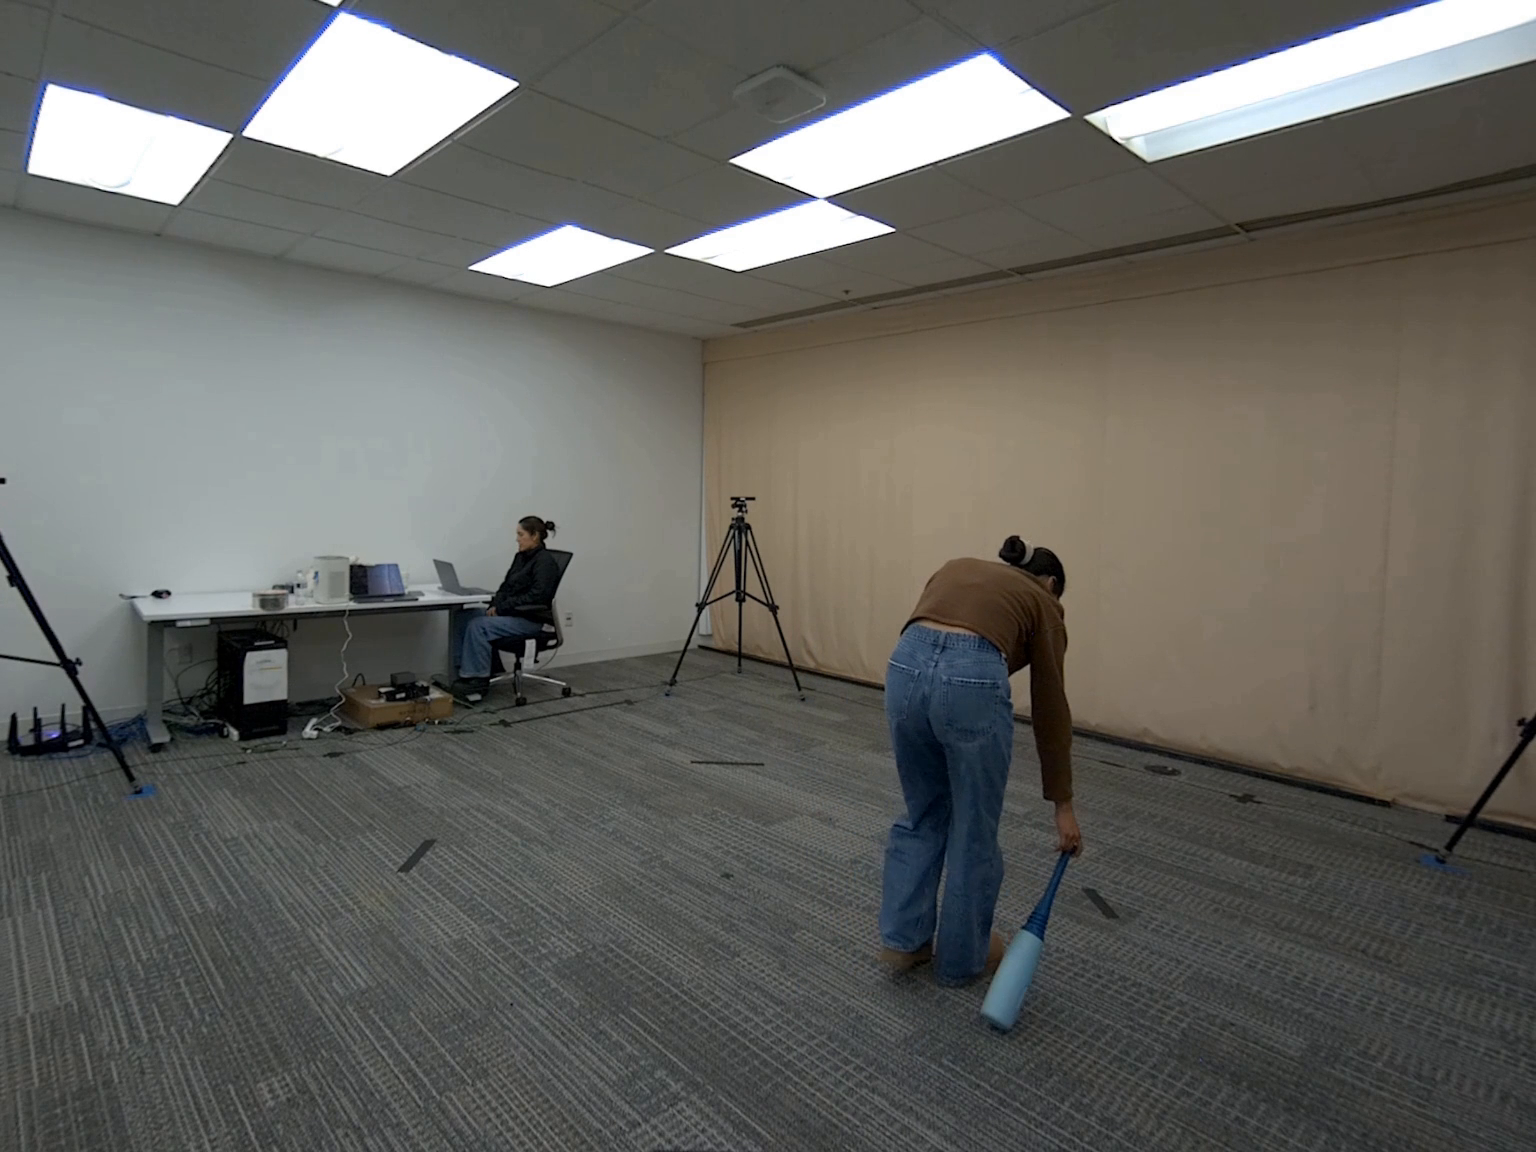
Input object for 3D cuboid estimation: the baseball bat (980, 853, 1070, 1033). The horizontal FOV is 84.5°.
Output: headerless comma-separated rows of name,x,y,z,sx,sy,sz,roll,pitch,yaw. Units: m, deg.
baseball bat,0.734,0.992,2.324,0.090,0.544,0.087,31,-24,14
